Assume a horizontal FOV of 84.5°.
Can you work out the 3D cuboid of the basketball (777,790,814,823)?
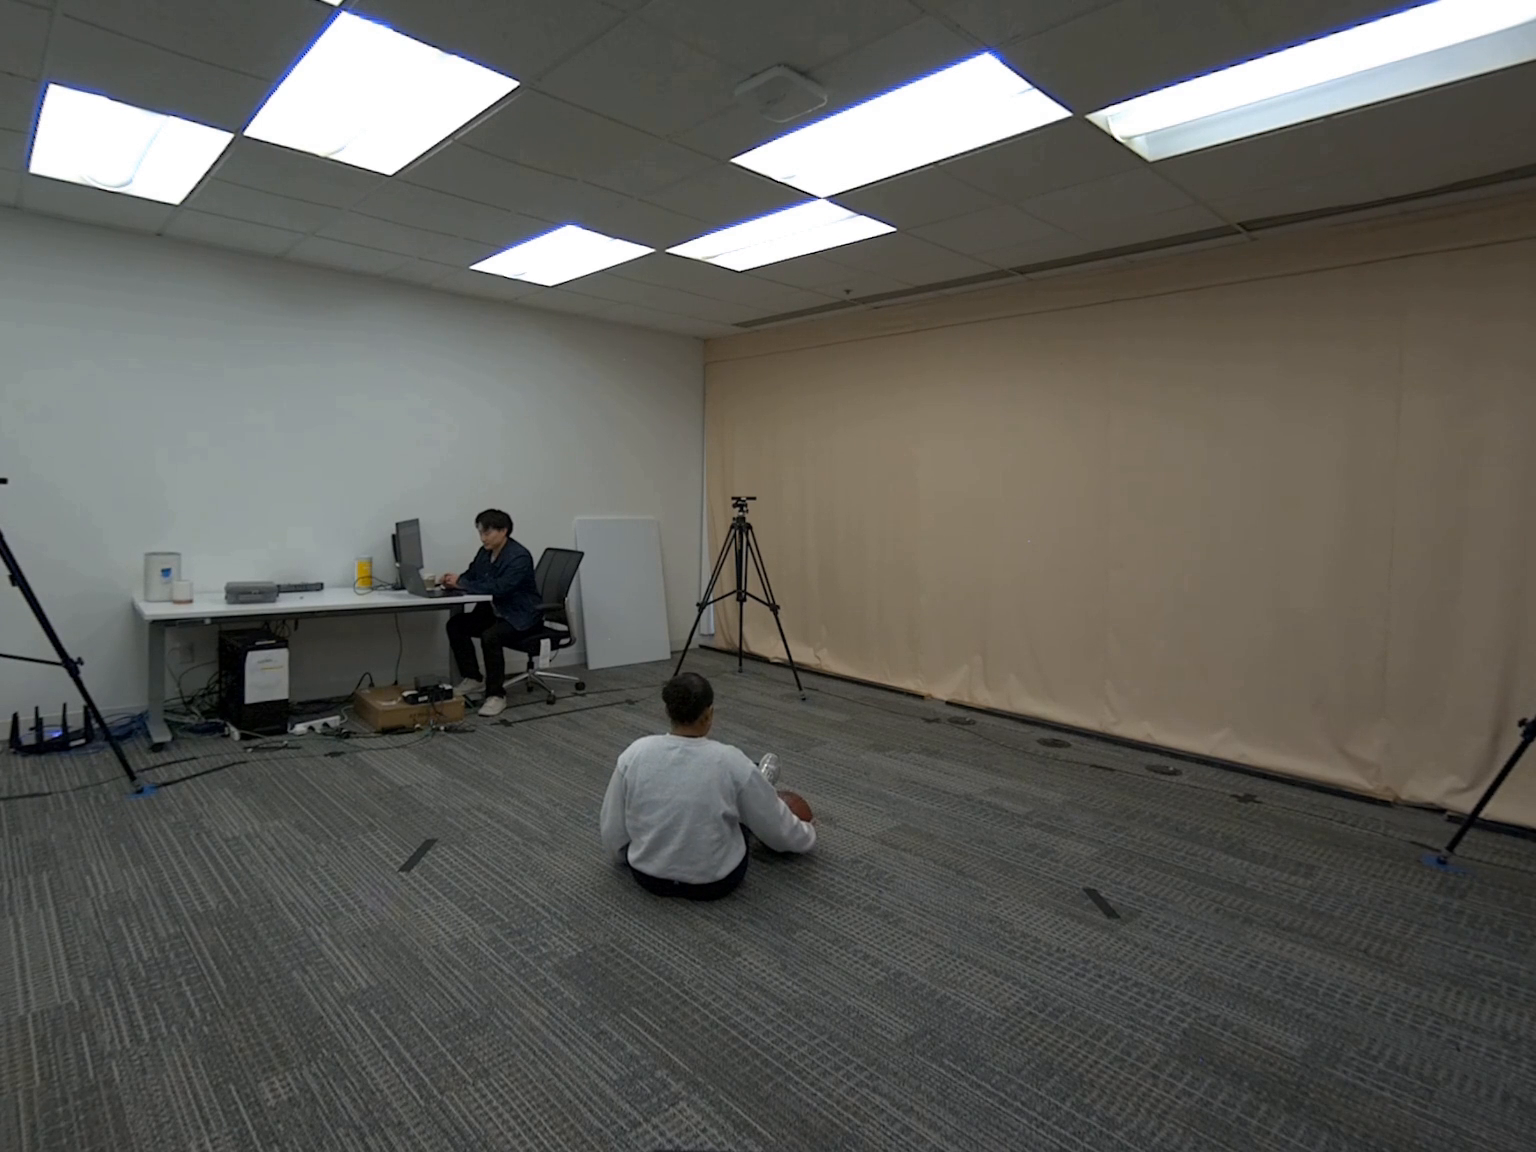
[{"bbox_3d":[0.048,0.977,3.325,0.236,0.235,0.237,1,4,-1],"label":"basketball"}]
